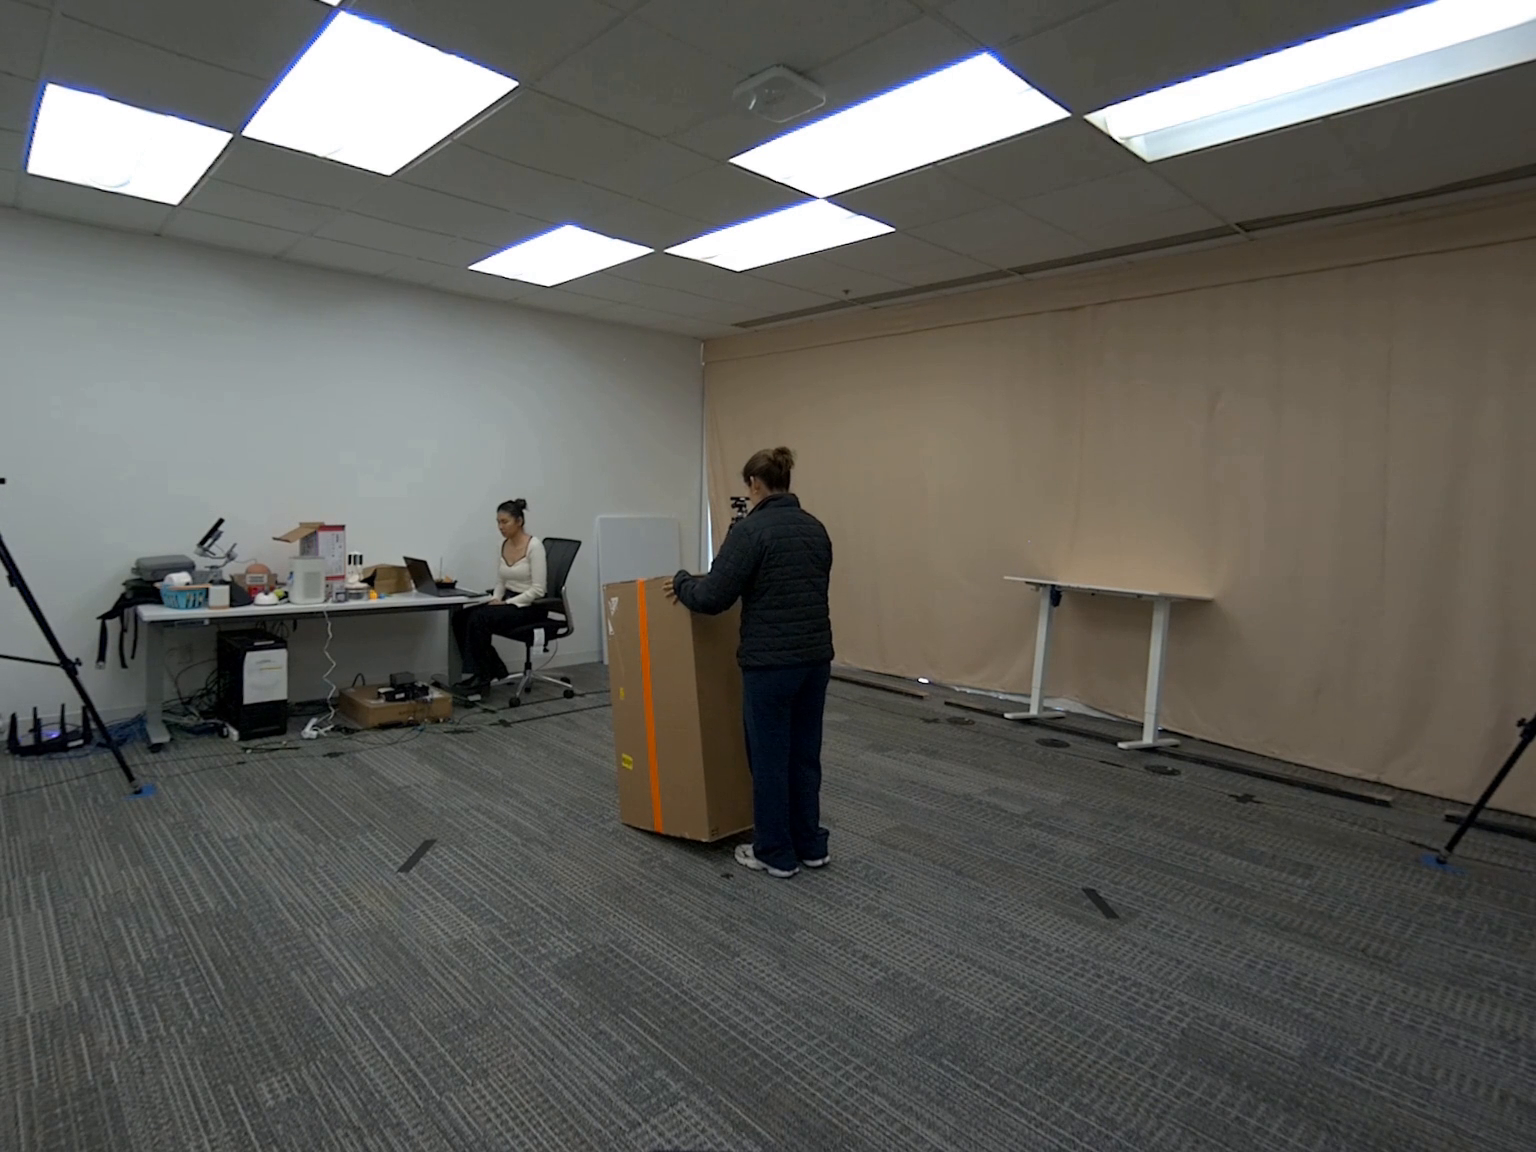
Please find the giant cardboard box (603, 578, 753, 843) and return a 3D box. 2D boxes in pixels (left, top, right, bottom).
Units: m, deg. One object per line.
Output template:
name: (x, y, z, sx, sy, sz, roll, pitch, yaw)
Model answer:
giant cardboard box: (-0.336, 0.519, 3.544, 0.416, 1.029, 0.589, -2, -5, -44)
